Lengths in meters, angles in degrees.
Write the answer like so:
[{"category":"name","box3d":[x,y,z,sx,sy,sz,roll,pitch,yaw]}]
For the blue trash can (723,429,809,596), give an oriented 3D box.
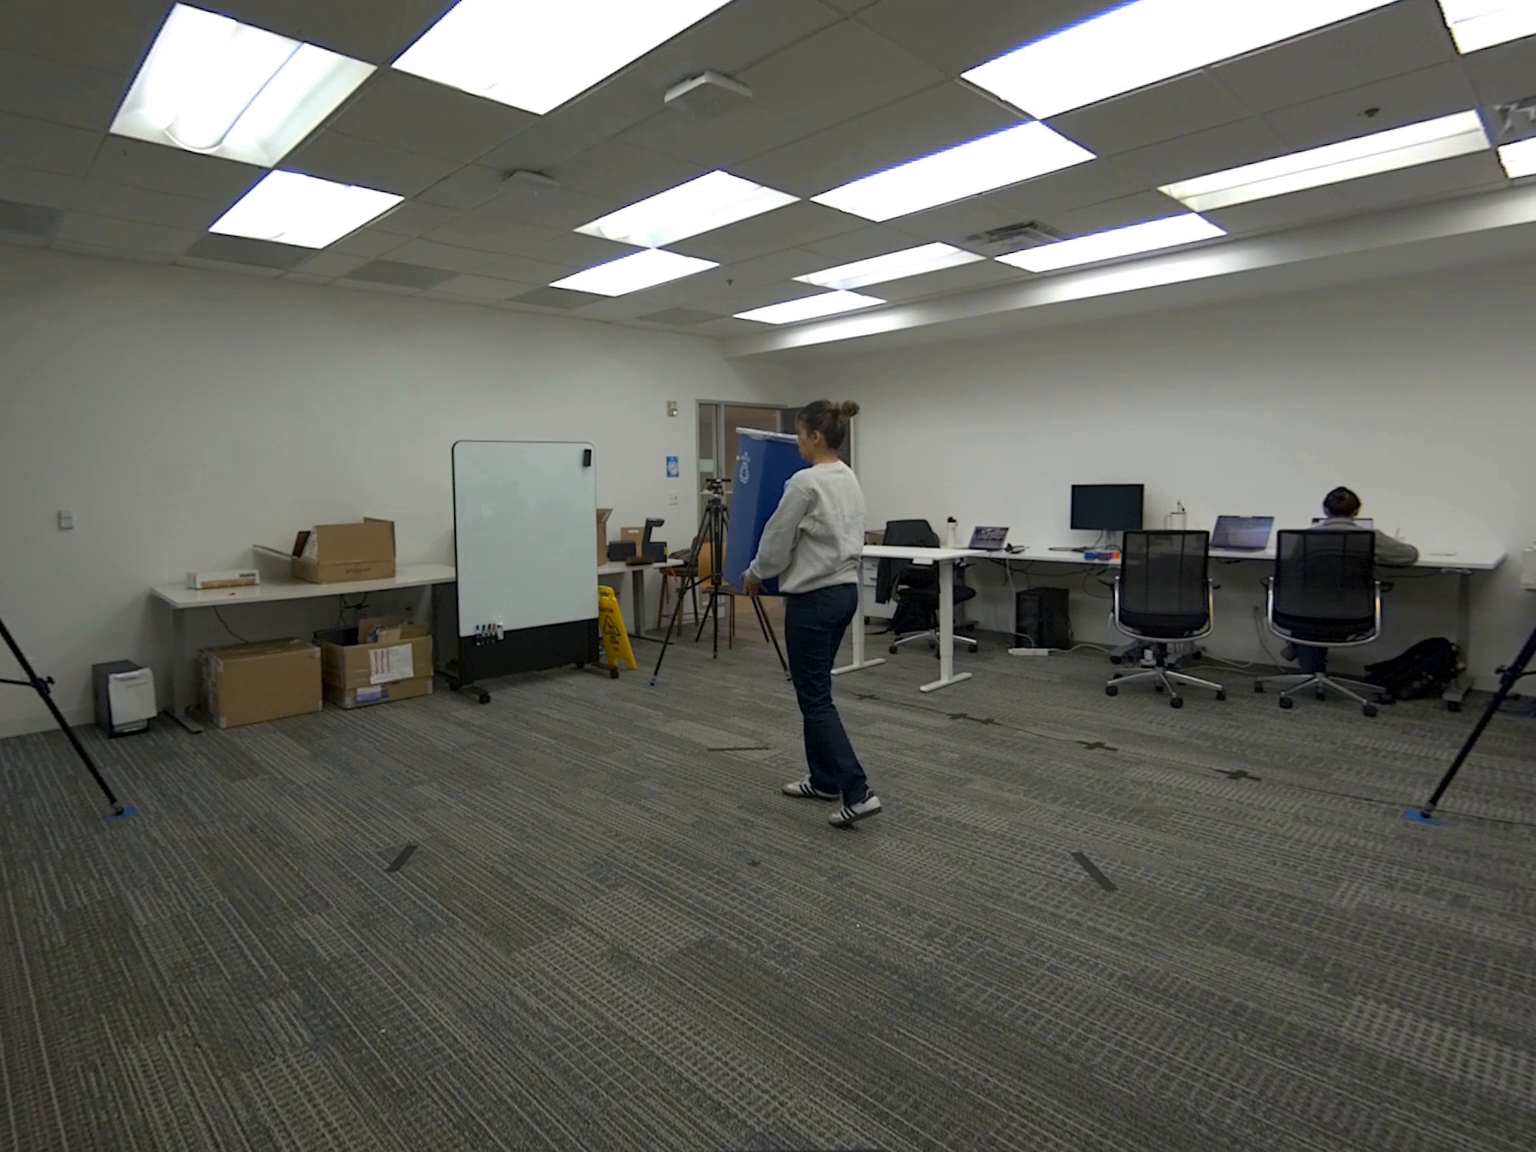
[{"category":"blue trash can","box3d":[0.036,-0.292,3.894,0.370,0.709,0.385,4,9,-24]}]
